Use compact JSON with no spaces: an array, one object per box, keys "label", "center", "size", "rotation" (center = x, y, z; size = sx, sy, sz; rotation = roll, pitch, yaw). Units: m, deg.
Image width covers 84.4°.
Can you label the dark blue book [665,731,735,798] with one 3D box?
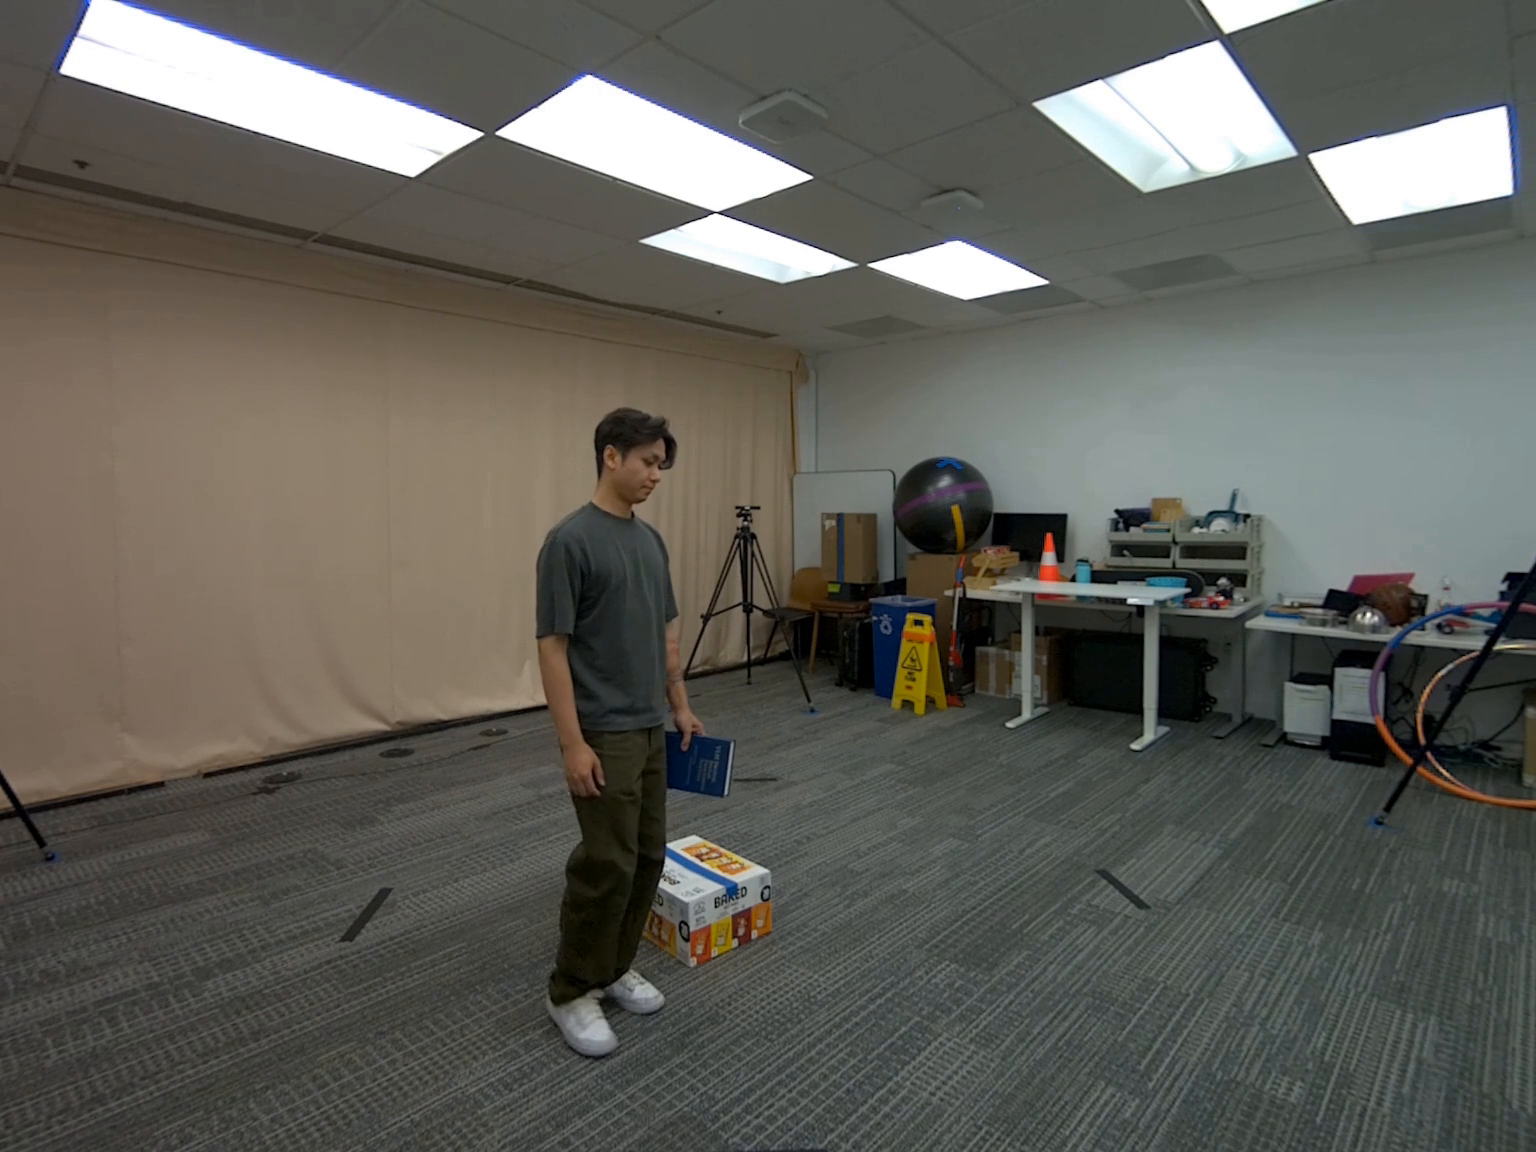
[{"label":"dark blue book","center":[-0.231,0.555,2.489],"size":[0.250,0.164,0.044],"rotation":[5,-8,17]}]
